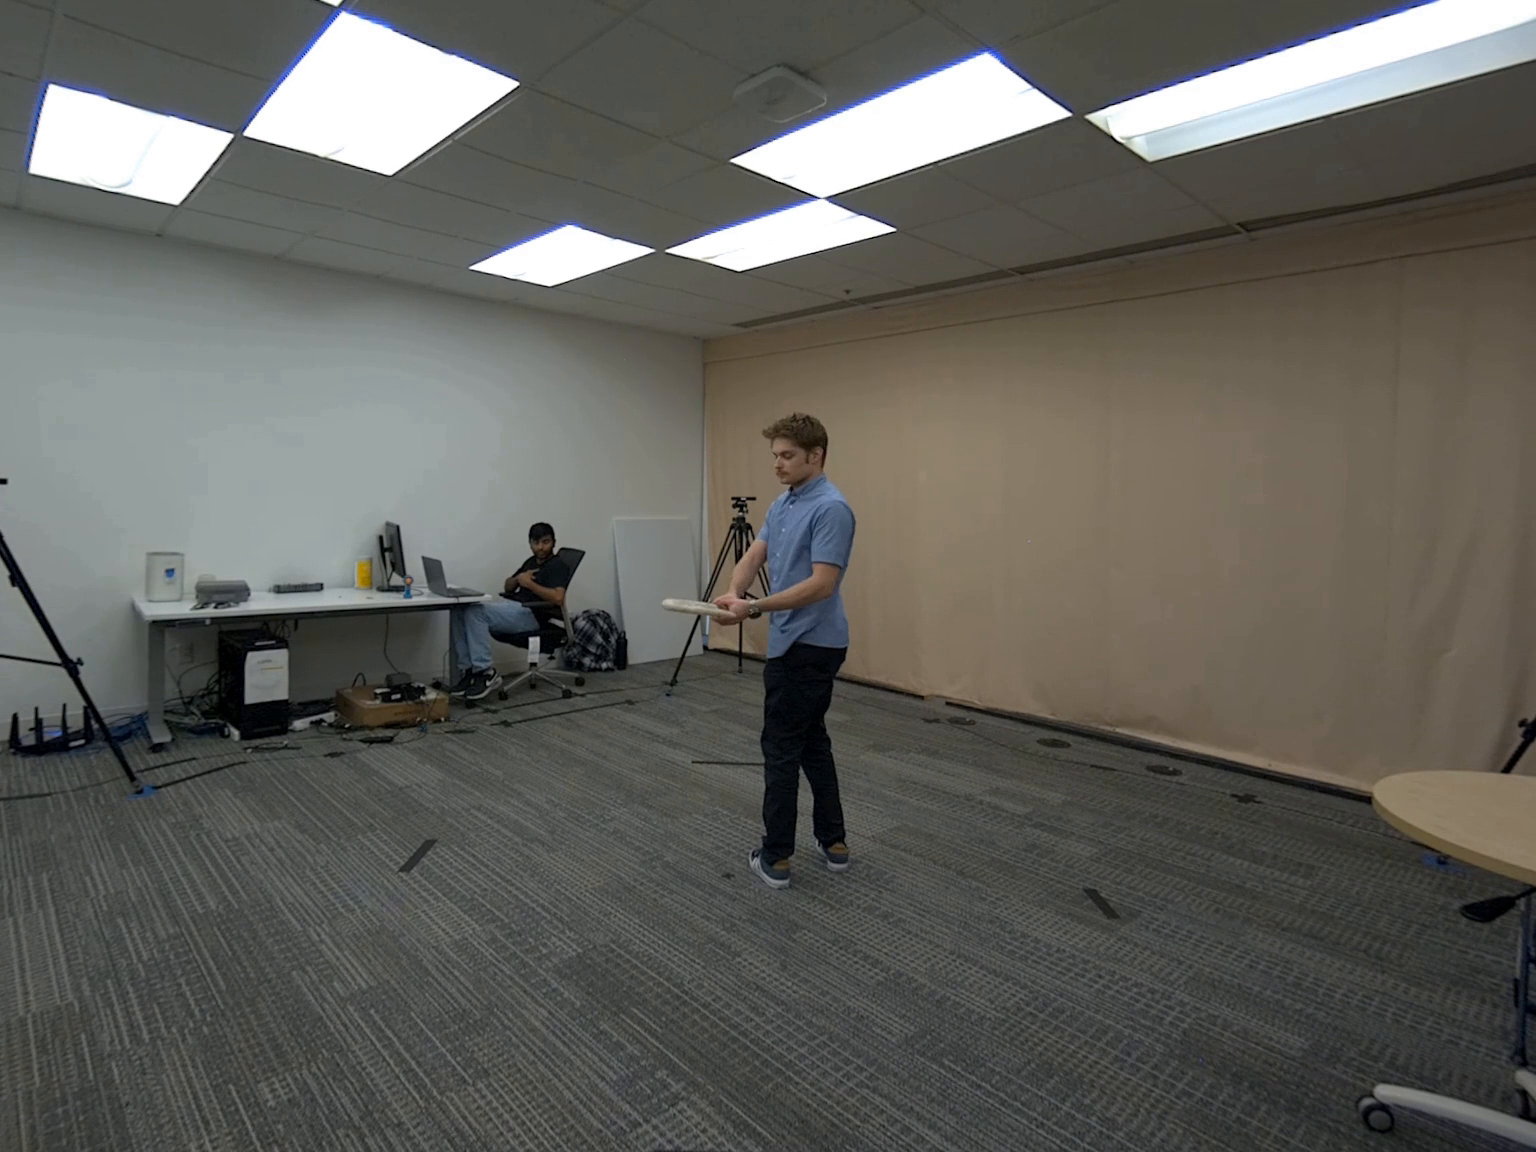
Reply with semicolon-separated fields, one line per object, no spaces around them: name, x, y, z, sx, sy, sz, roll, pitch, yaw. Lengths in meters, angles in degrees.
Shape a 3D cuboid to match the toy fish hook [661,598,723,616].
toy fish hook;-0.163;0.119;2.808;0.229;0.048;0.496;13;1;24
